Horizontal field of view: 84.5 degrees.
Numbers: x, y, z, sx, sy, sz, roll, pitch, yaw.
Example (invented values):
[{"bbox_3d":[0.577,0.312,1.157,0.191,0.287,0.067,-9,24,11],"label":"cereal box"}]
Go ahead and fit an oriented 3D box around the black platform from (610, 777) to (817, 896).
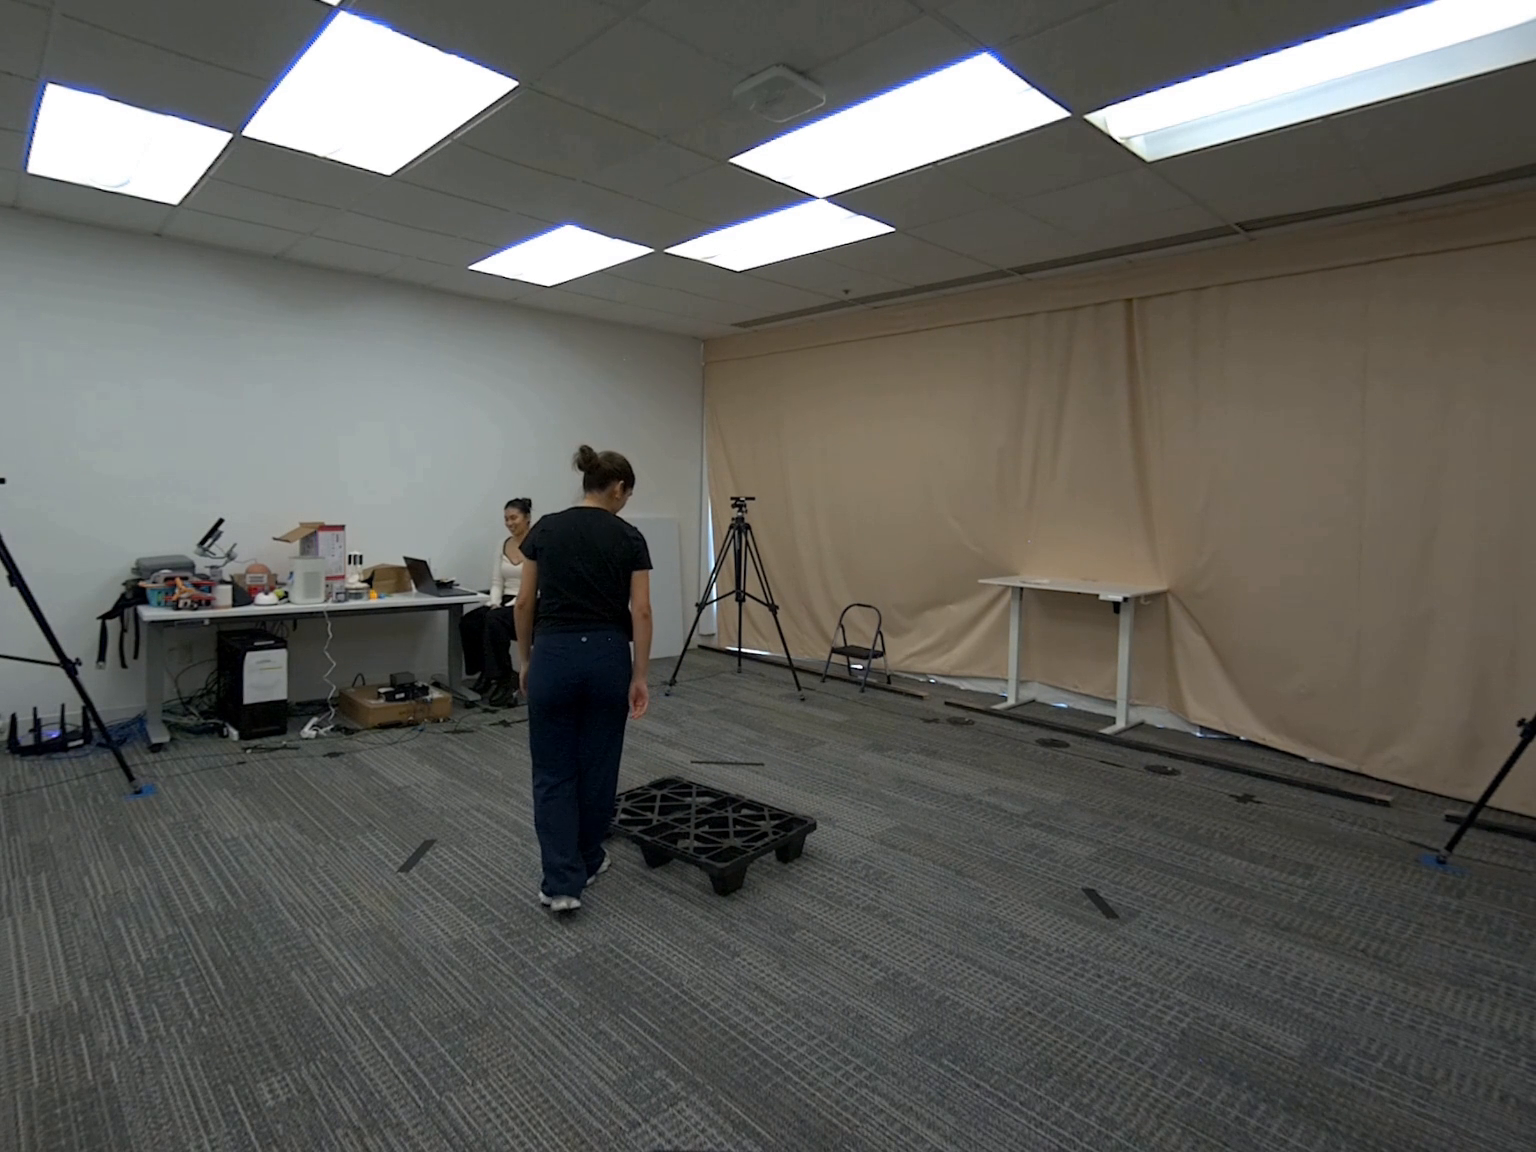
[{"bbox_3d":[-0.299,1.017,3.329,0.825,0.143,0.592,5,7,38],"label":"black platform"}]
